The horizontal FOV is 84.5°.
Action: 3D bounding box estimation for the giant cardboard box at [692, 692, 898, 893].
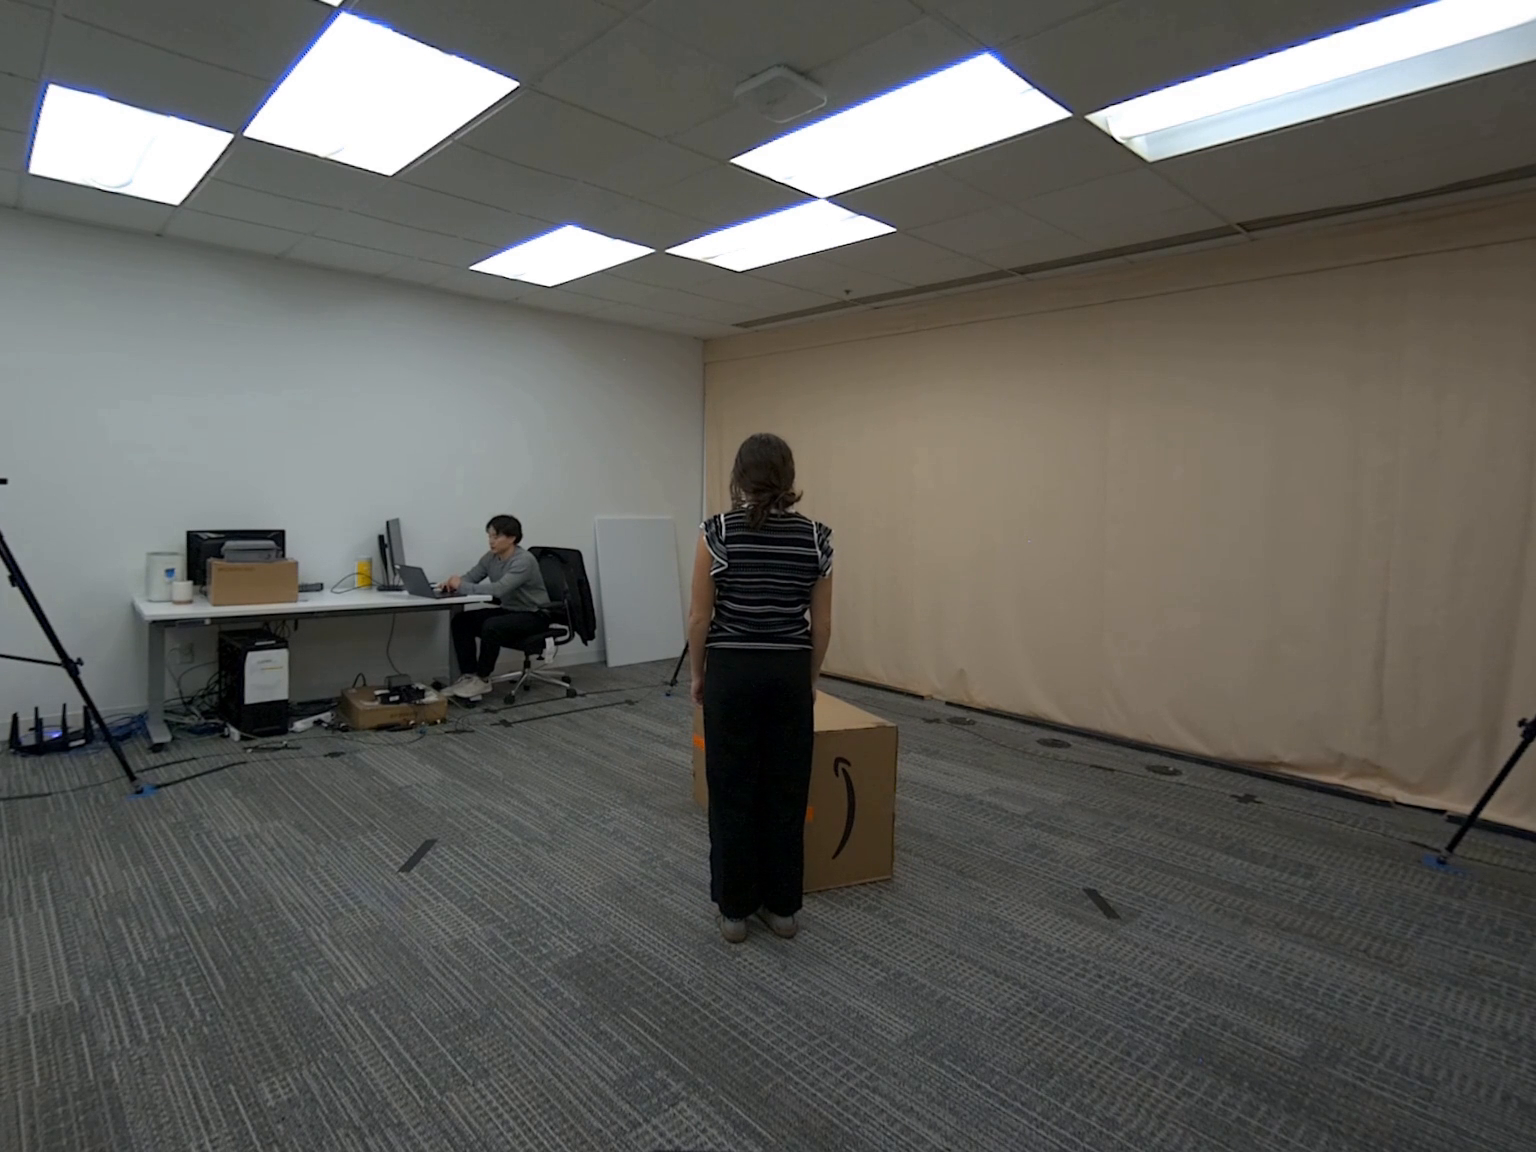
[{"bbox_3d":[0.059,0.788,3.490,0.419,0.576,1.046,0,4,-23],"label":"giant cardboard box"}]
